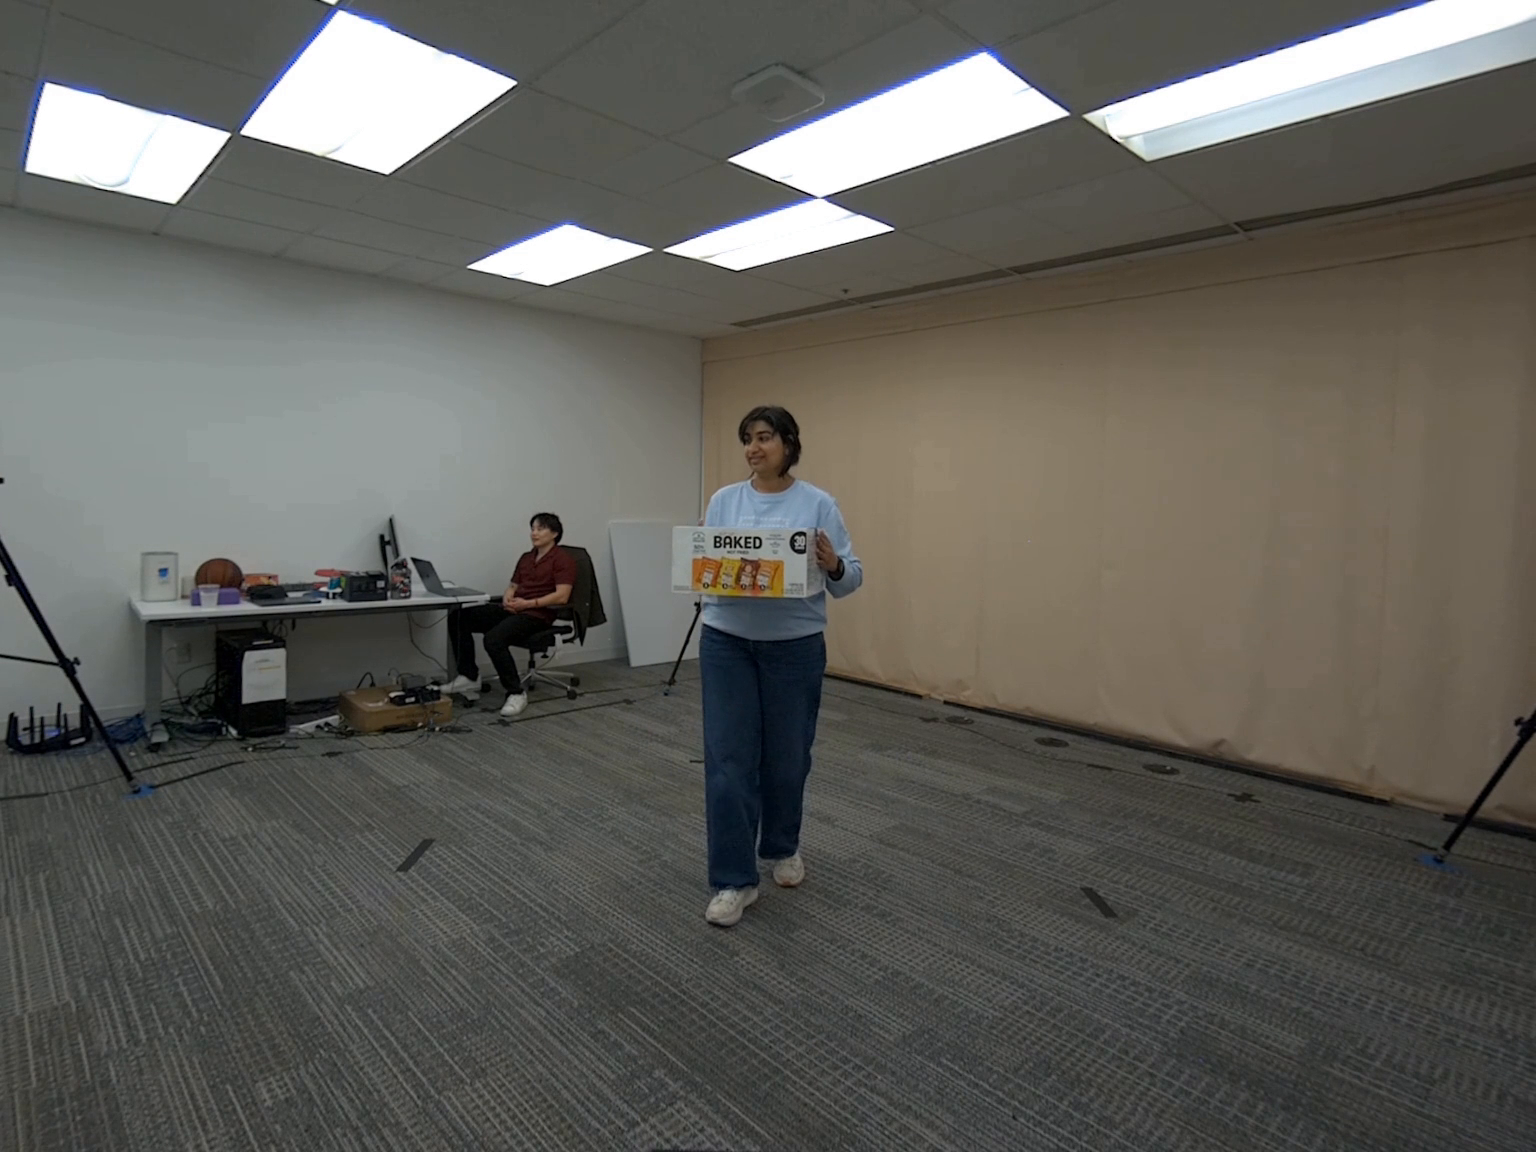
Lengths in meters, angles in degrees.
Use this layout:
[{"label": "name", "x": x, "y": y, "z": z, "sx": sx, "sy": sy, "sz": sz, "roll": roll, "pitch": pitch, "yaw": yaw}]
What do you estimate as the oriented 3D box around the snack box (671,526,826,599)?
[{"label": "snack box", "x": -0.056, "y": -0.047, "z": 2.611, "sx": 0.410, "sy": 0.205, "sz": 0.336, "roll": 2, "pitch": 2, "yaw": 15}]
